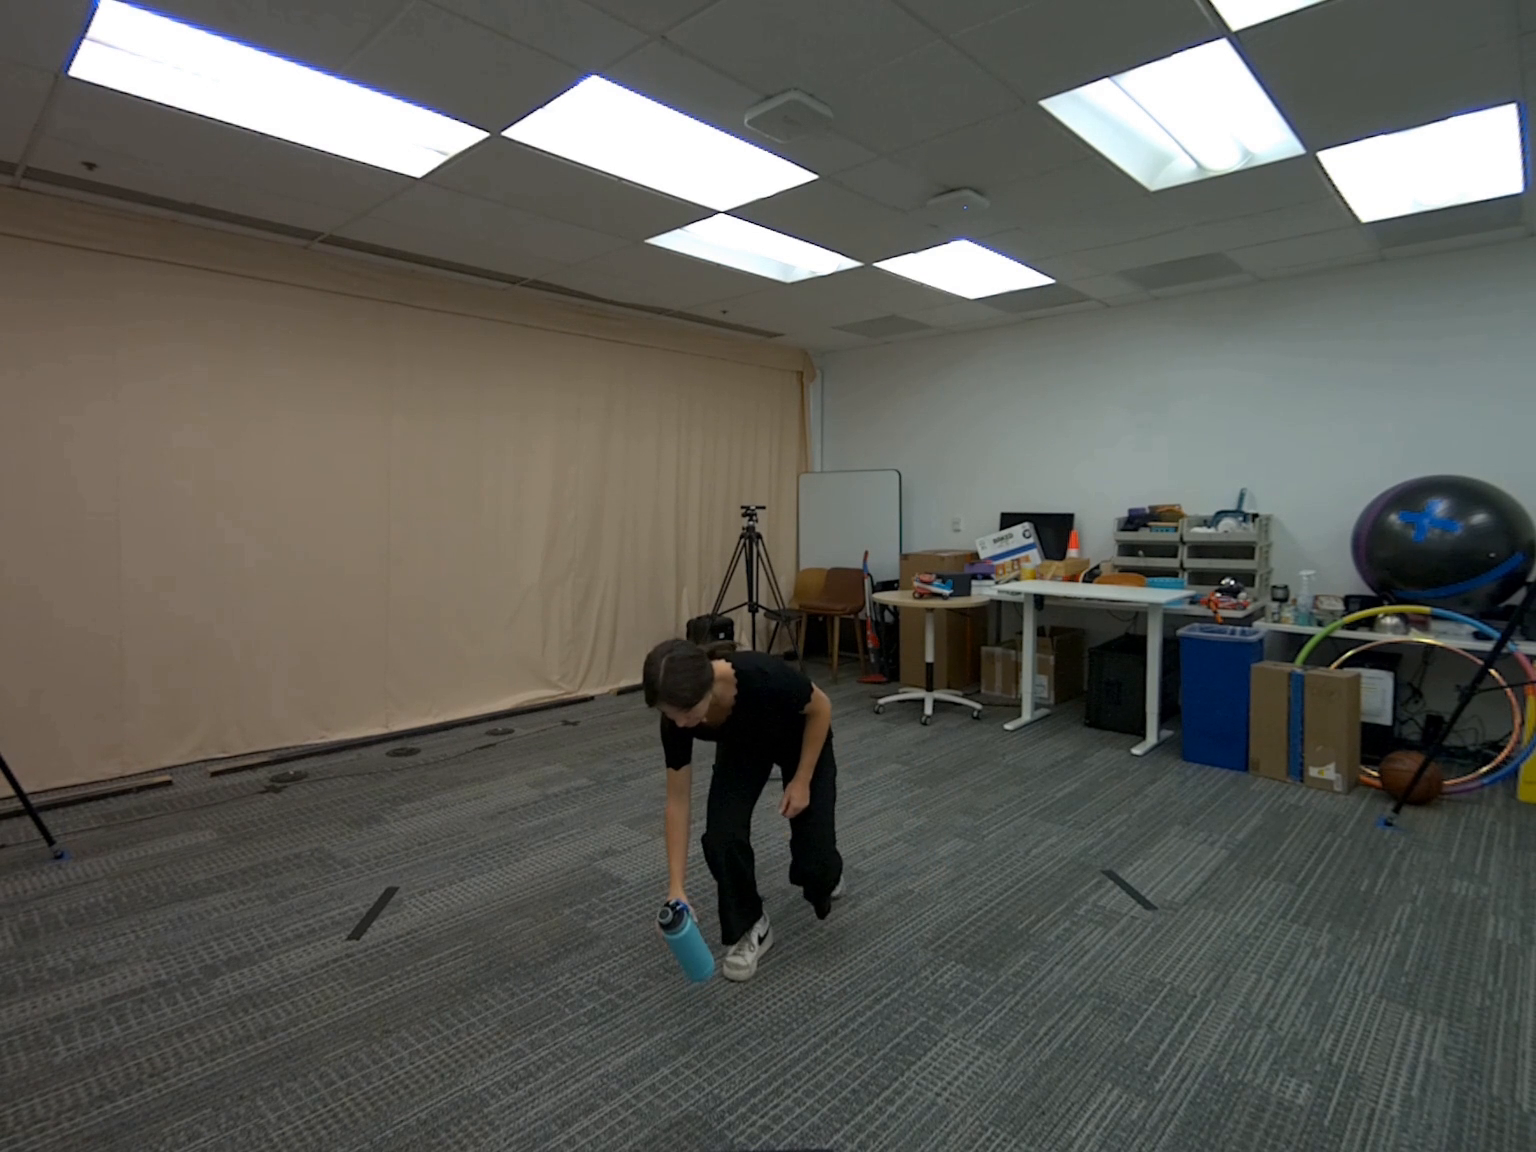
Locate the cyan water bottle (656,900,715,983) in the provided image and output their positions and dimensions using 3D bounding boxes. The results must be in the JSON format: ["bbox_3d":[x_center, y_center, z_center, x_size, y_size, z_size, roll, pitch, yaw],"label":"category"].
[{"bbox_3d":[-0.222,0.994,2.297,0.093,0.278,0.094,-12,25,4],"label":"cyan water bottle"}]
